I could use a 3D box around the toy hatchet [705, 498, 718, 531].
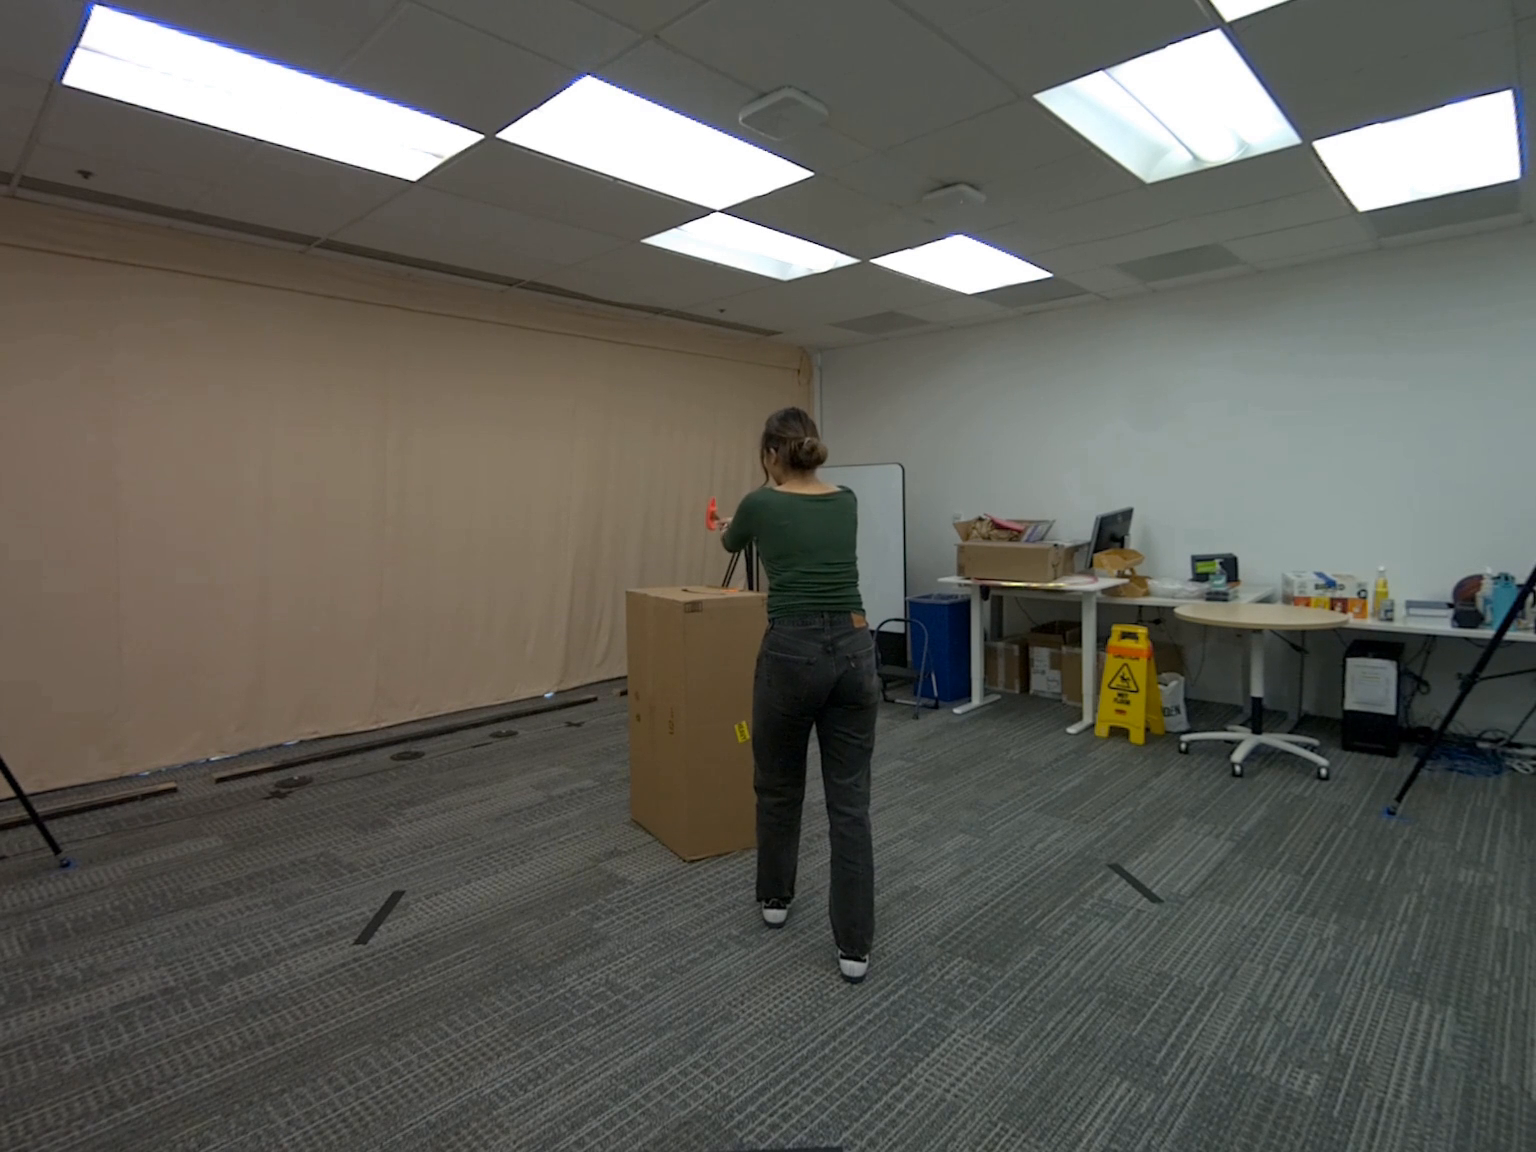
[{"bbox_3d":[-0.184,-0.182,3.267,0.029,0.131,0.278,4,41,-29],"label":"toy hatchet"}]
